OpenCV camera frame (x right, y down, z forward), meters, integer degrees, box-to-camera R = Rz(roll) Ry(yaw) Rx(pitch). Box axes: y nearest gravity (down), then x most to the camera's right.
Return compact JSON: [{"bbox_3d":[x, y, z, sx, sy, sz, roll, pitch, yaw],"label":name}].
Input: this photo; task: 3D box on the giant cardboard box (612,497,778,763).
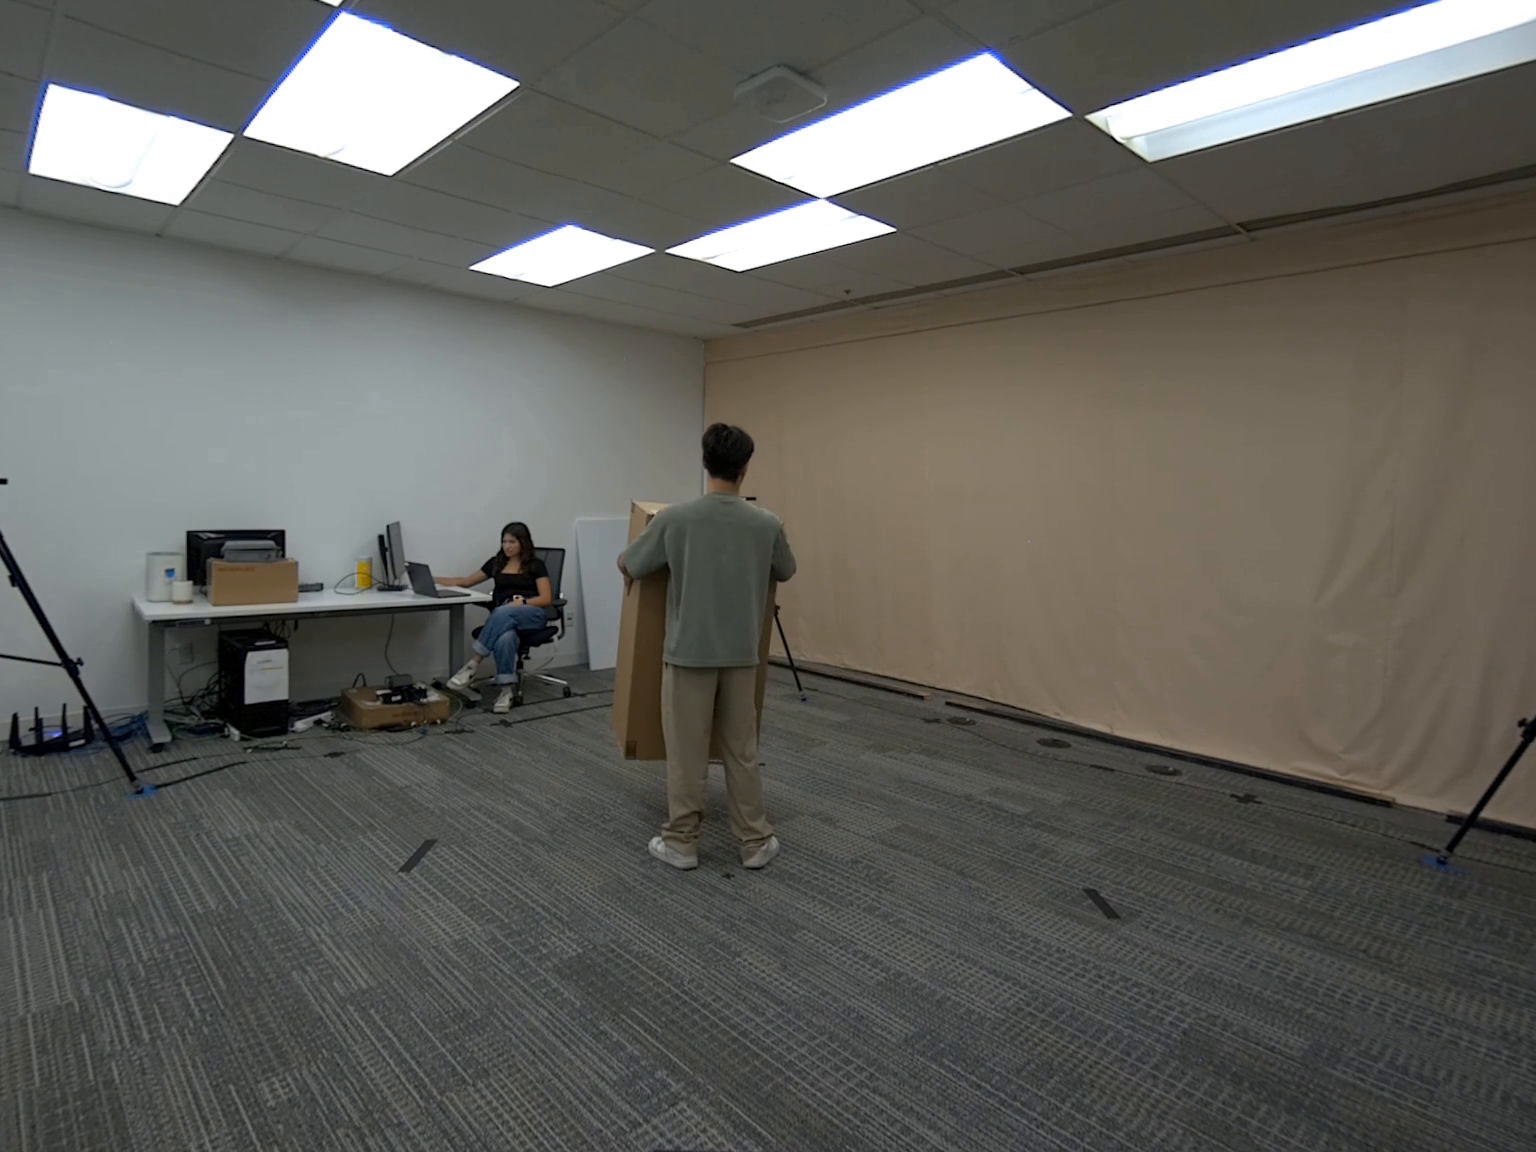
[{"bbox_3d":[-0.326,0.228,3.632,0.570,1.020,0.434,3,9,-16],"label":"giant cardboard box"}]
